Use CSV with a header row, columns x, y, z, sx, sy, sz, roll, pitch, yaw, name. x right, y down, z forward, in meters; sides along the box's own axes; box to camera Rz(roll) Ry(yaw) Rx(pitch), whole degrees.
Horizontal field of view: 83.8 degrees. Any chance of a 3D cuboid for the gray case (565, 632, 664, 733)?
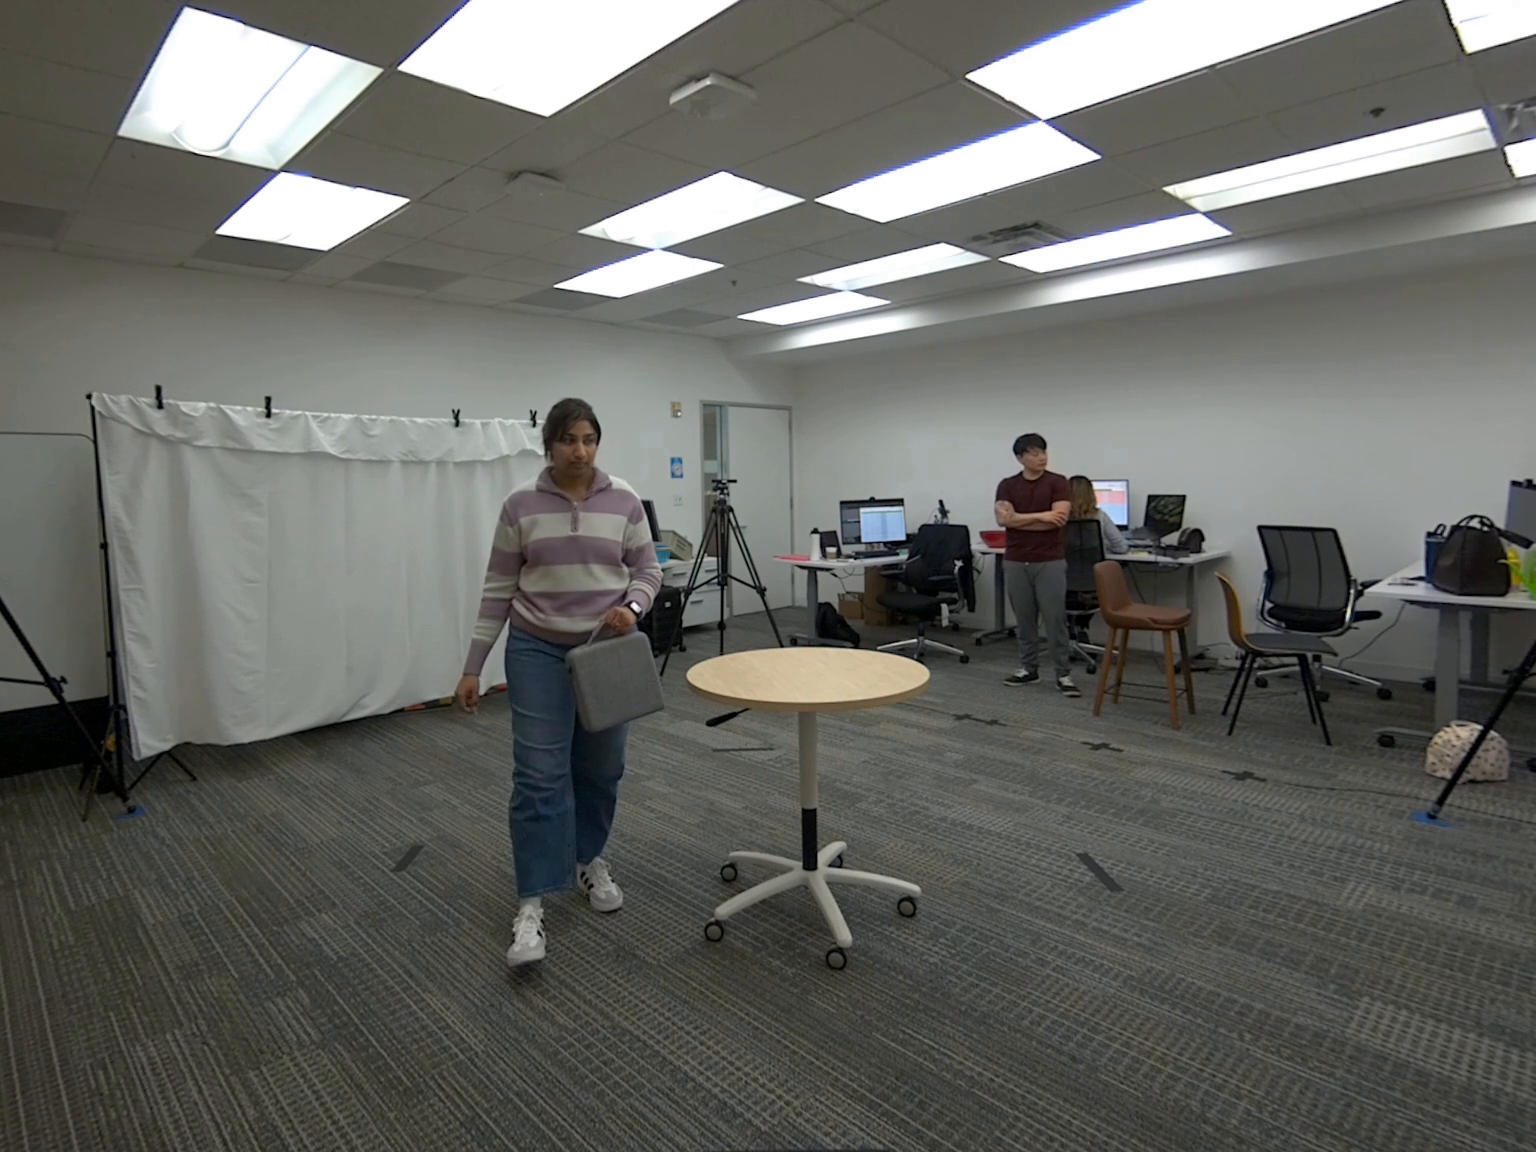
x,y,z,sx,sy,sz,roll,pitch,yaw,name
-0.458,0.310,2.564,0.253,0.261,0.106,-13,-1,-23,gray case
